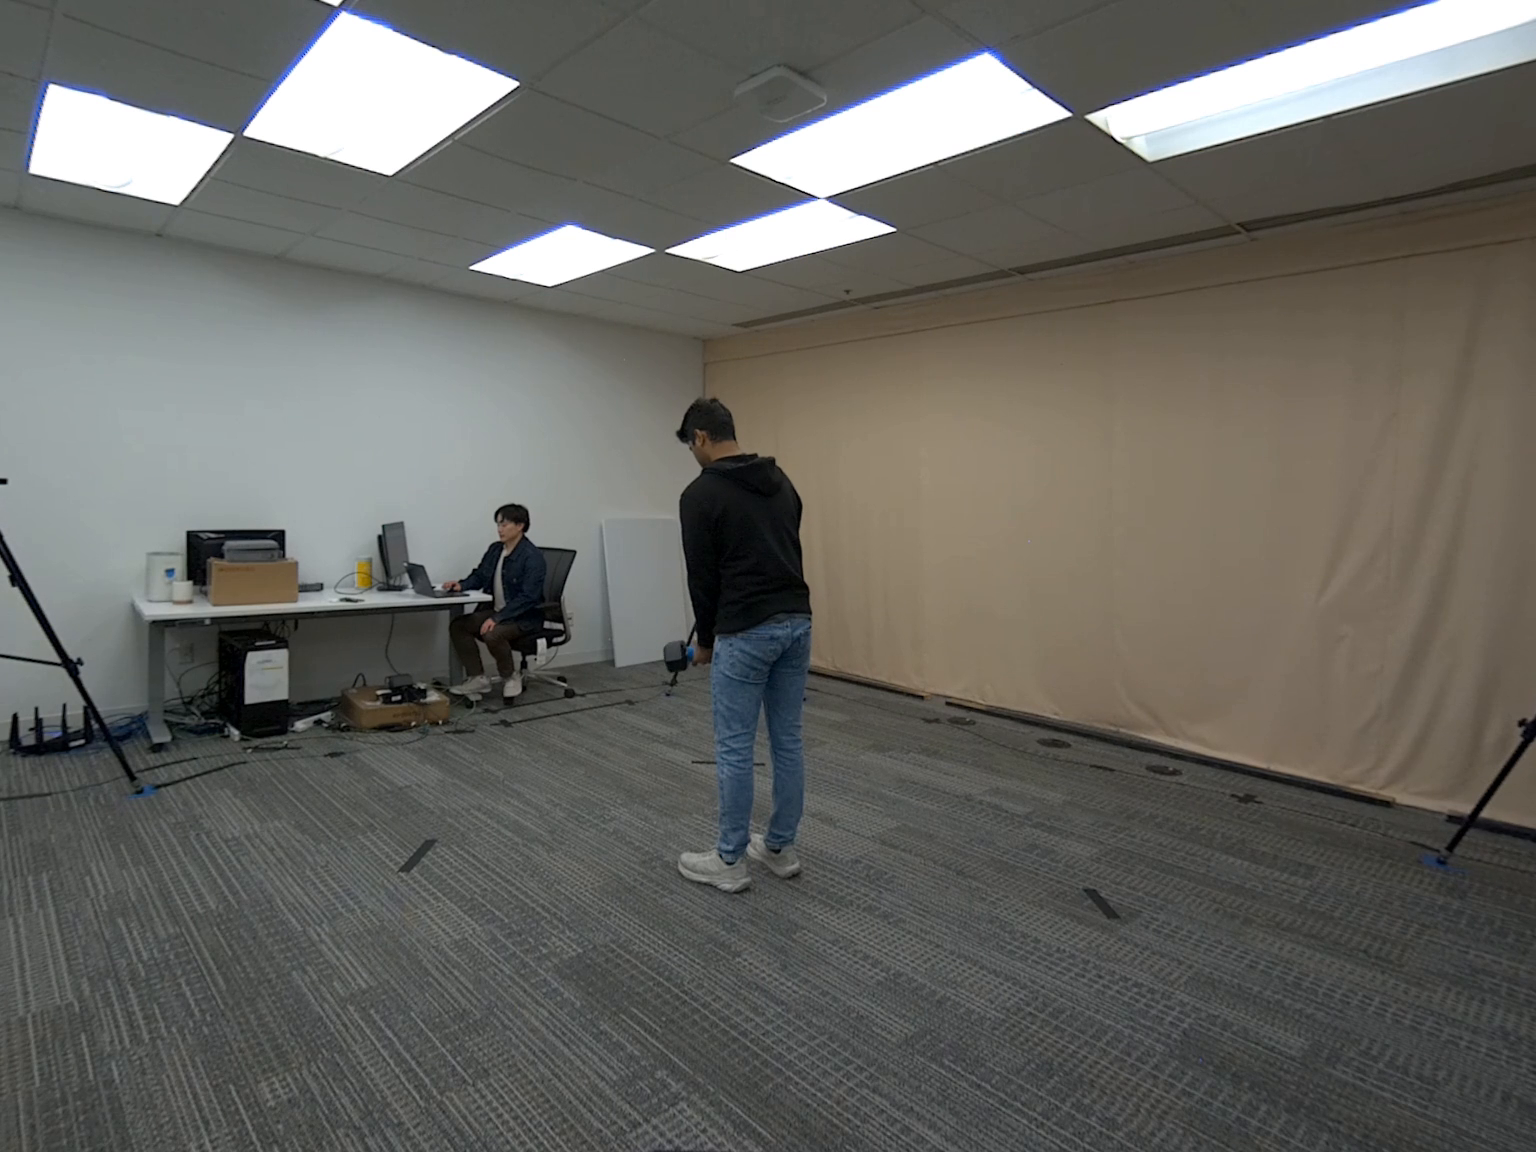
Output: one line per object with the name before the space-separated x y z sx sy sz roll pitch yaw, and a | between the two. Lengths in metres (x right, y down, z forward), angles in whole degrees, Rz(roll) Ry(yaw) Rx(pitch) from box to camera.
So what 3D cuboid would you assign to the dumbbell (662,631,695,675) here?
dumbbell | -0.250 0.293 3.216 0.295 0.108 0.123 -8 5 7
